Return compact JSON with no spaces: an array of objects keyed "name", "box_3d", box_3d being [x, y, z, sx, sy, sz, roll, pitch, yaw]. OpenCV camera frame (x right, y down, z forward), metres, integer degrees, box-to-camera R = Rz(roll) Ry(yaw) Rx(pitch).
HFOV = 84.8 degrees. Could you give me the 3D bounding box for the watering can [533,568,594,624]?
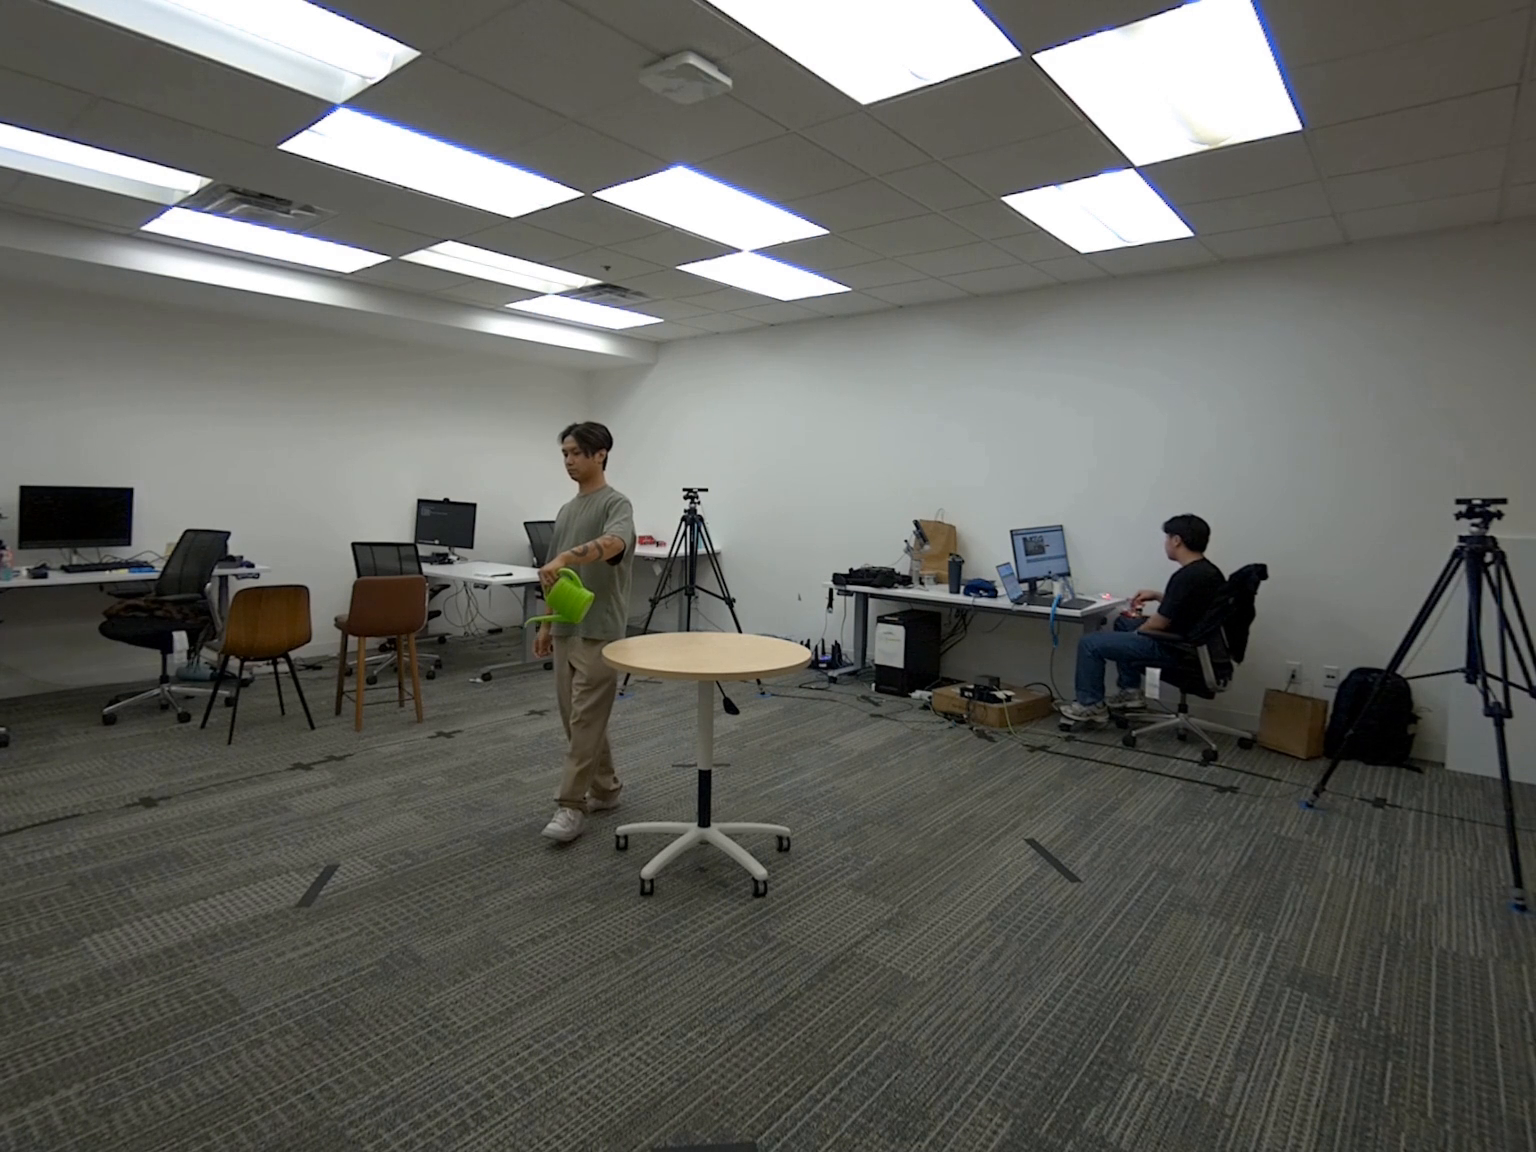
[{"name":"watering can","box_3d":[-0.781,0.106,3.132,0.179,0.276,0.097,34,24,7]}]
